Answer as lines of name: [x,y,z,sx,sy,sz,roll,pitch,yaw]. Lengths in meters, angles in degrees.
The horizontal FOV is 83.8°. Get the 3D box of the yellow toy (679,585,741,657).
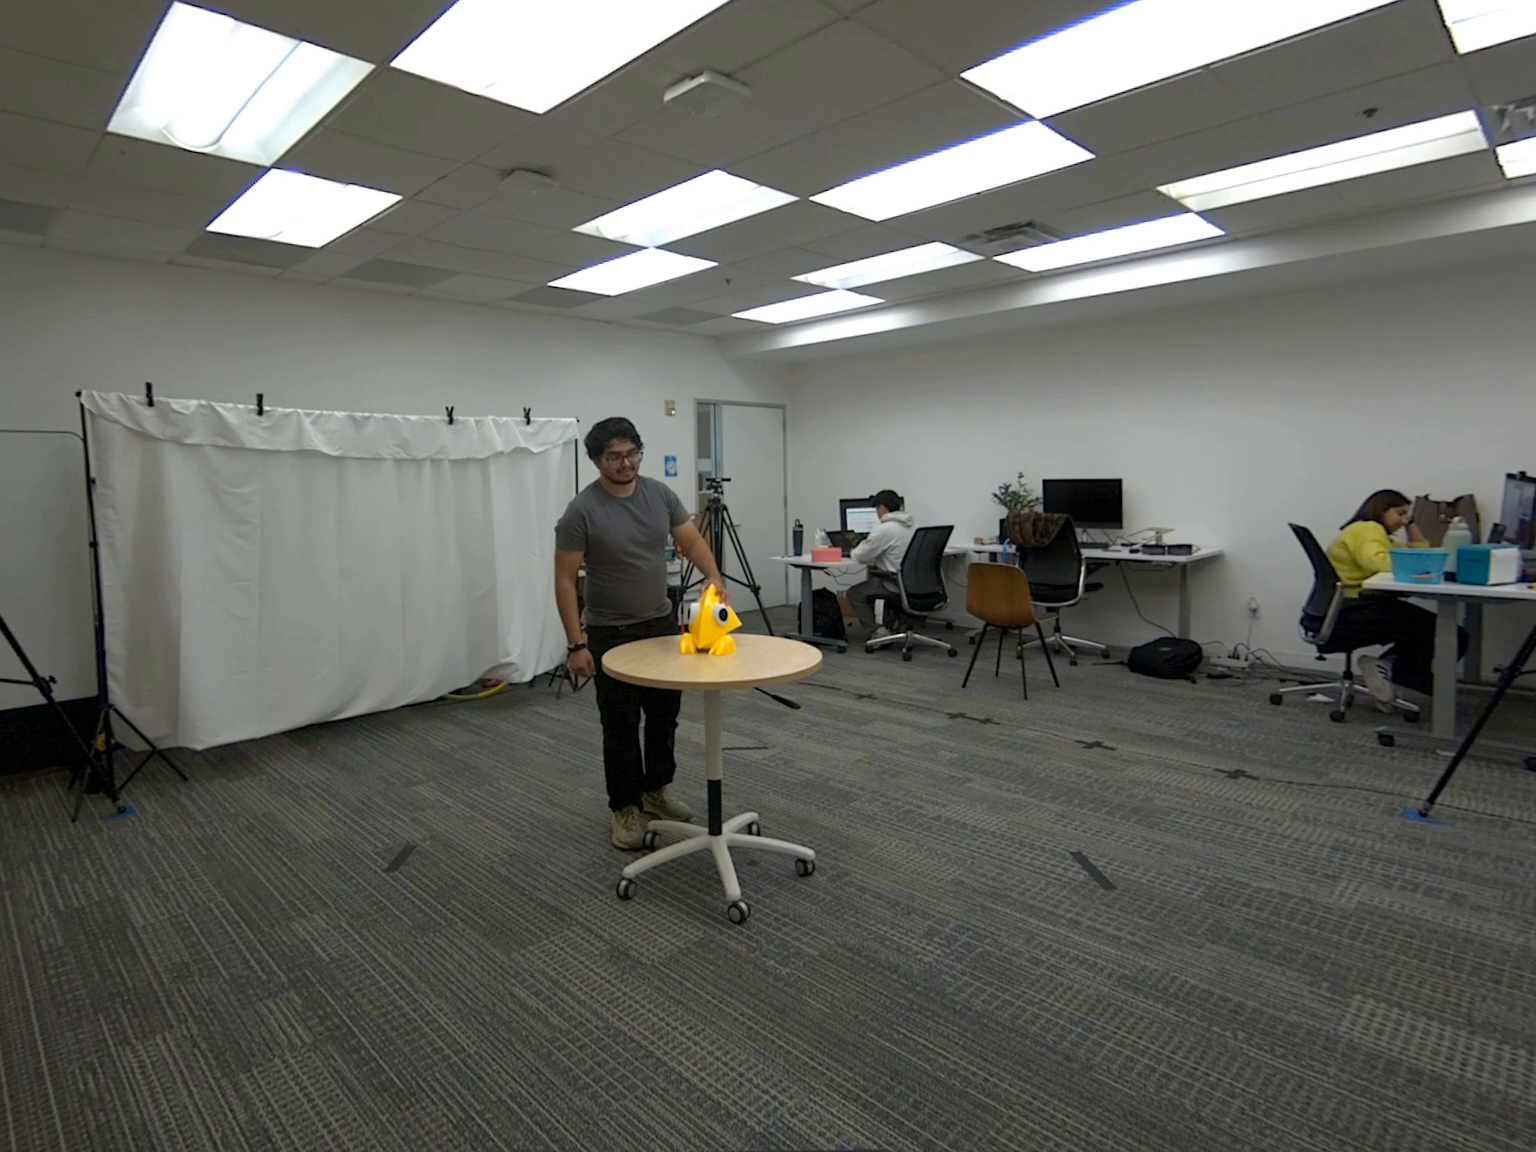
yellow toy: [-0.215,0.151,3.060,0.208,0.230,0.191,1,5,16]
